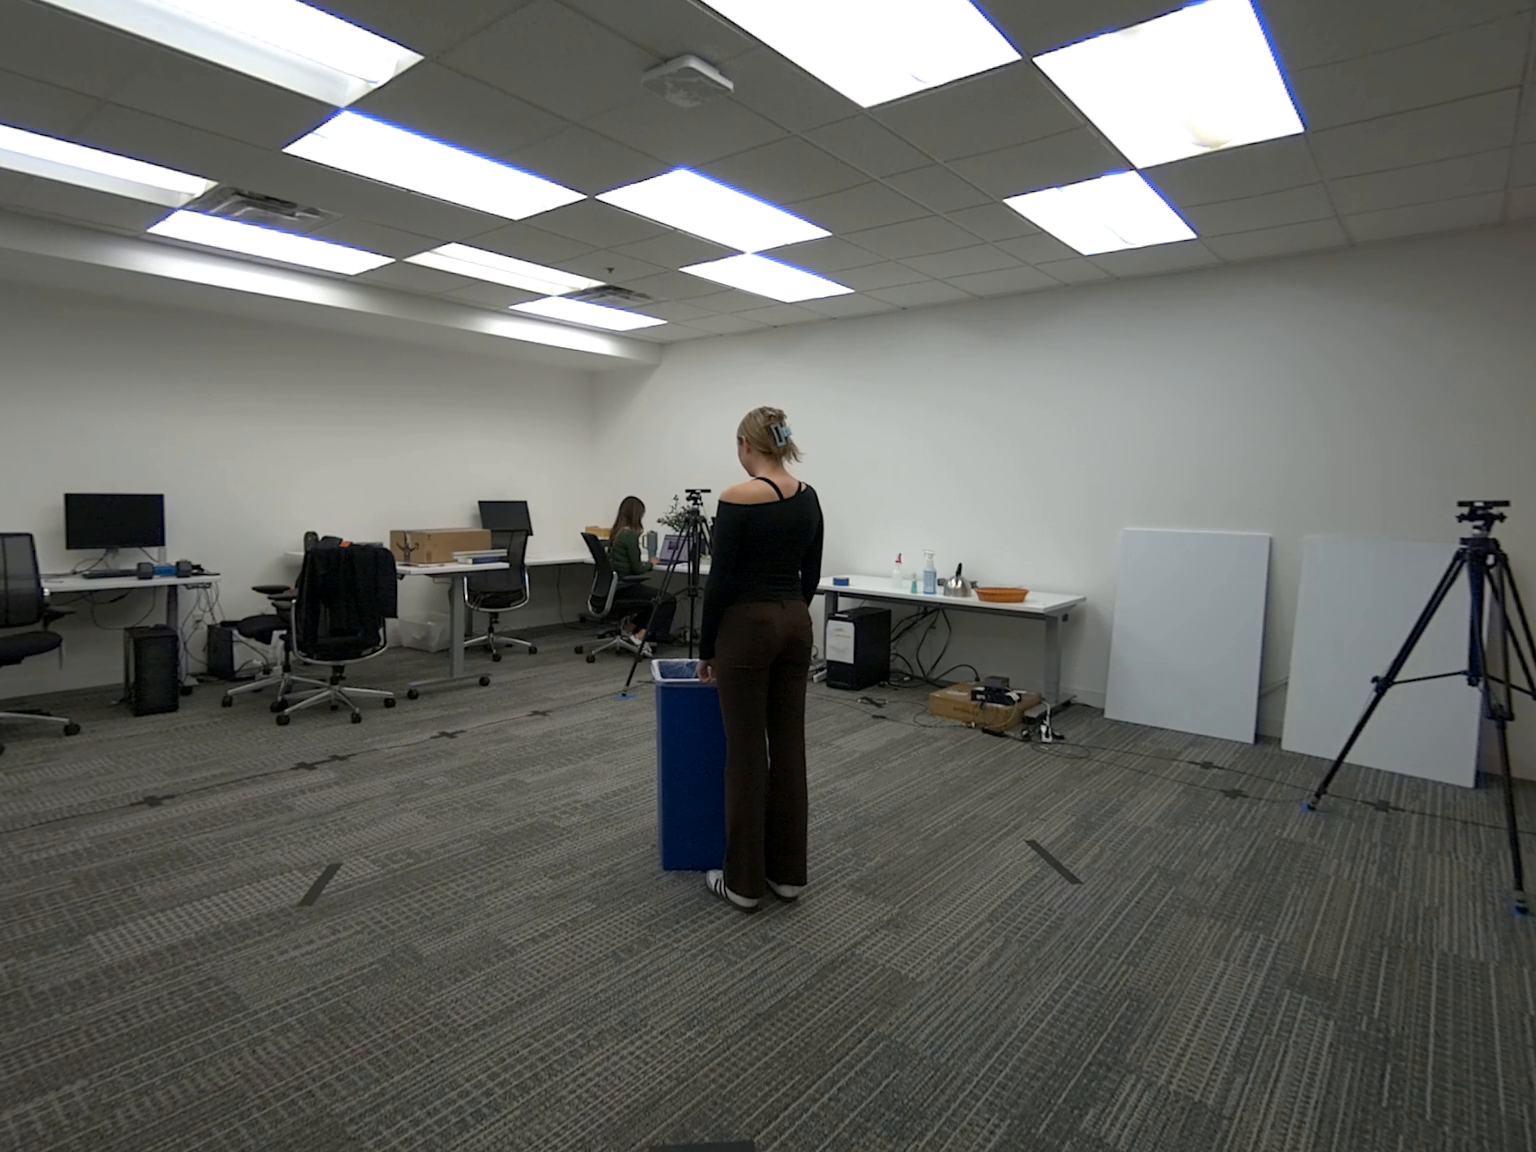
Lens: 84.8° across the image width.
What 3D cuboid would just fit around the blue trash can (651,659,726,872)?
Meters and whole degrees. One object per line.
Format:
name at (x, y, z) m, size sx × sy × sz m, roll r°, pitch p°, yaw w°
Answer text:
blue trash can at (-0.264, 0.702, 3.238) m, size 0.375 × 0.711 × 0.378 m, roll 0°, pitch 3°, yaw -8°
